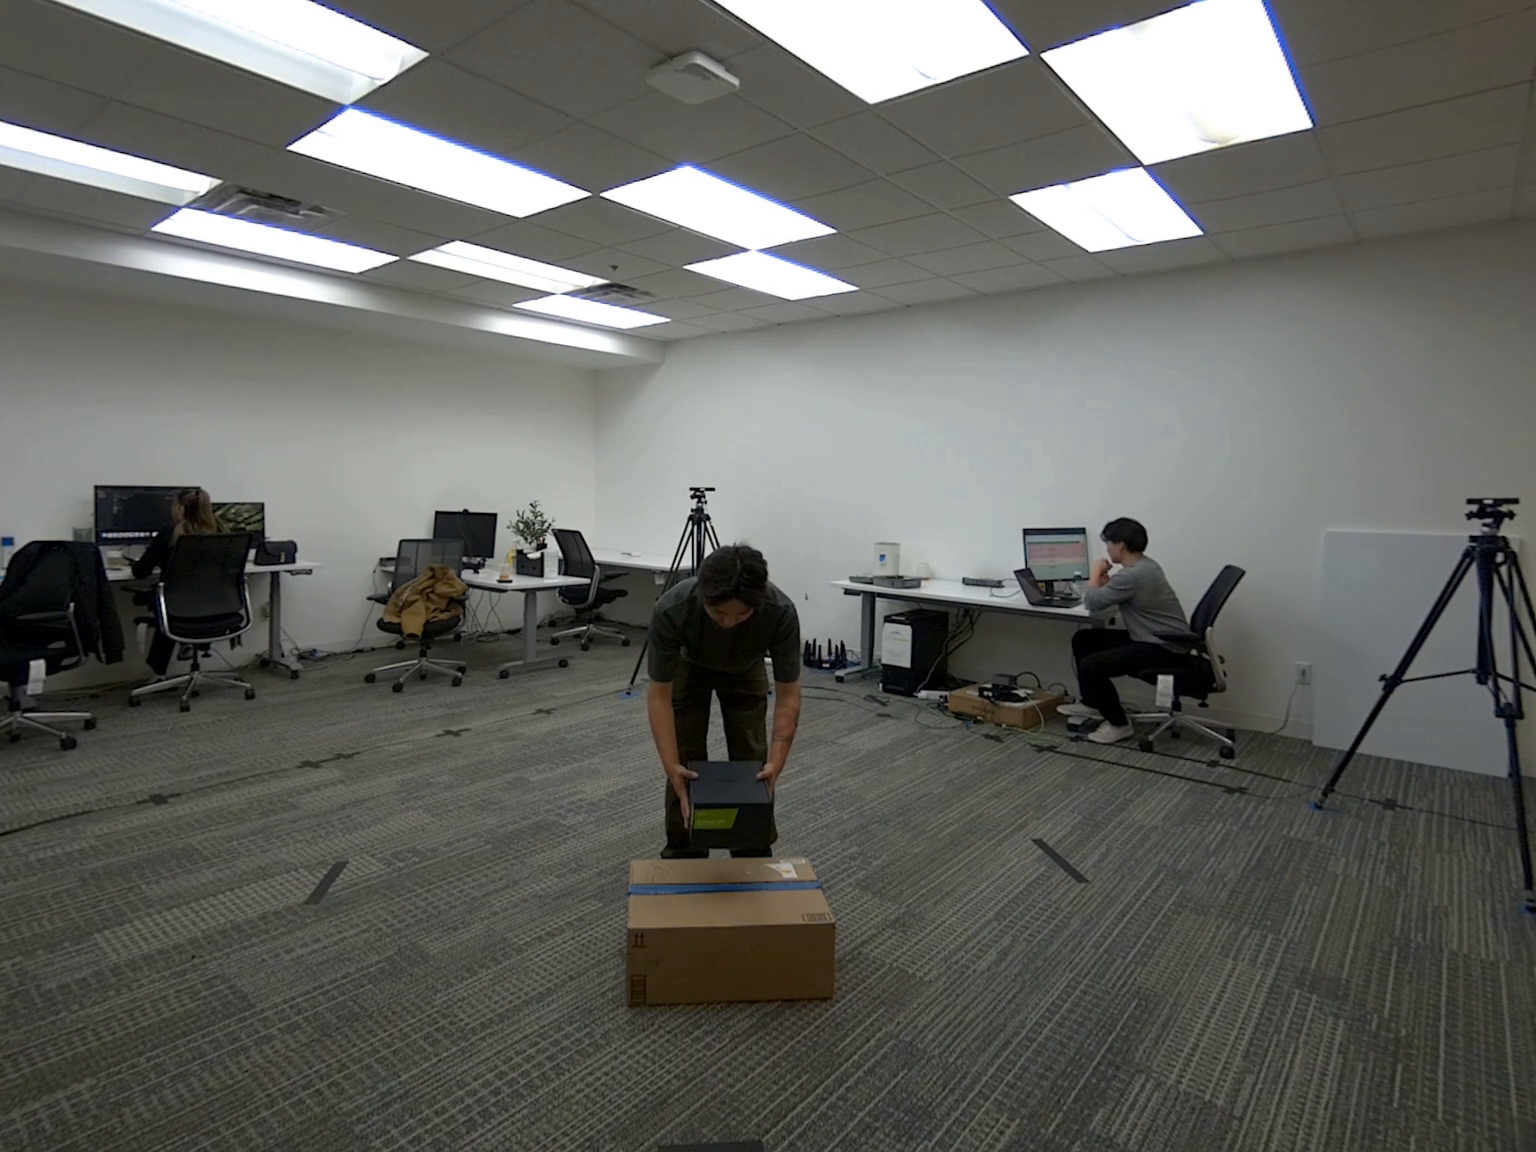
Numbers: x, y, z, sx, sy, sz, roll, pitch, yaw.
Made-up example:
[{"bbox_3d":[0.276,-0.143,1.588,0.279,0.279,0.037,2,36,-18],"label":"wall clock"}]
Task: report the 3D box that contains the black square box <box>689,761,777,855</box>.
[{"bbox_3d":[-0.135,0.682,2.548,0.226,0.153,0.222,3,20,-9],"label":"black square box"}]
